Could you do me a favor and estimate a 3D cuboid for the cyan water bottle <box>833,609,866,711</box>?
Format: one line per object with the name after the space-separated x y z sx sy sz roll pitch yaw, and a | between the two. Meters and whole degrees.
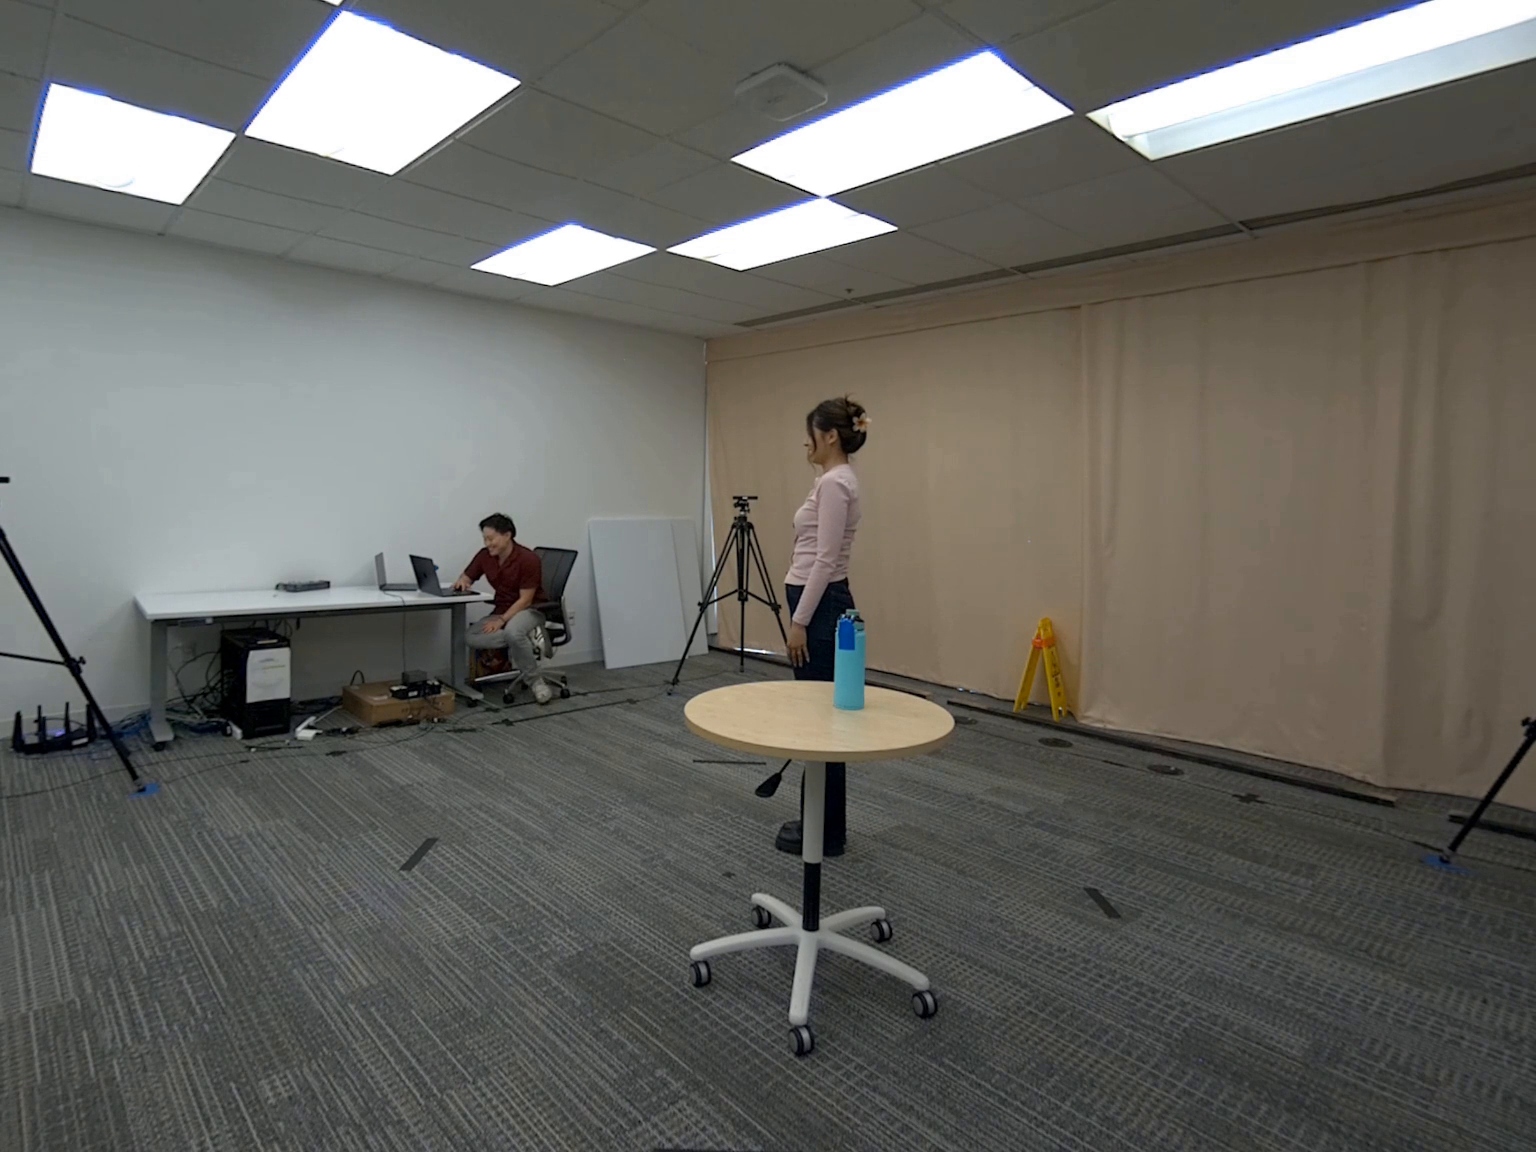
0.229 0.245 2.472 0.092 0.283 0.092 0 3 -1 | cyan water bottle
